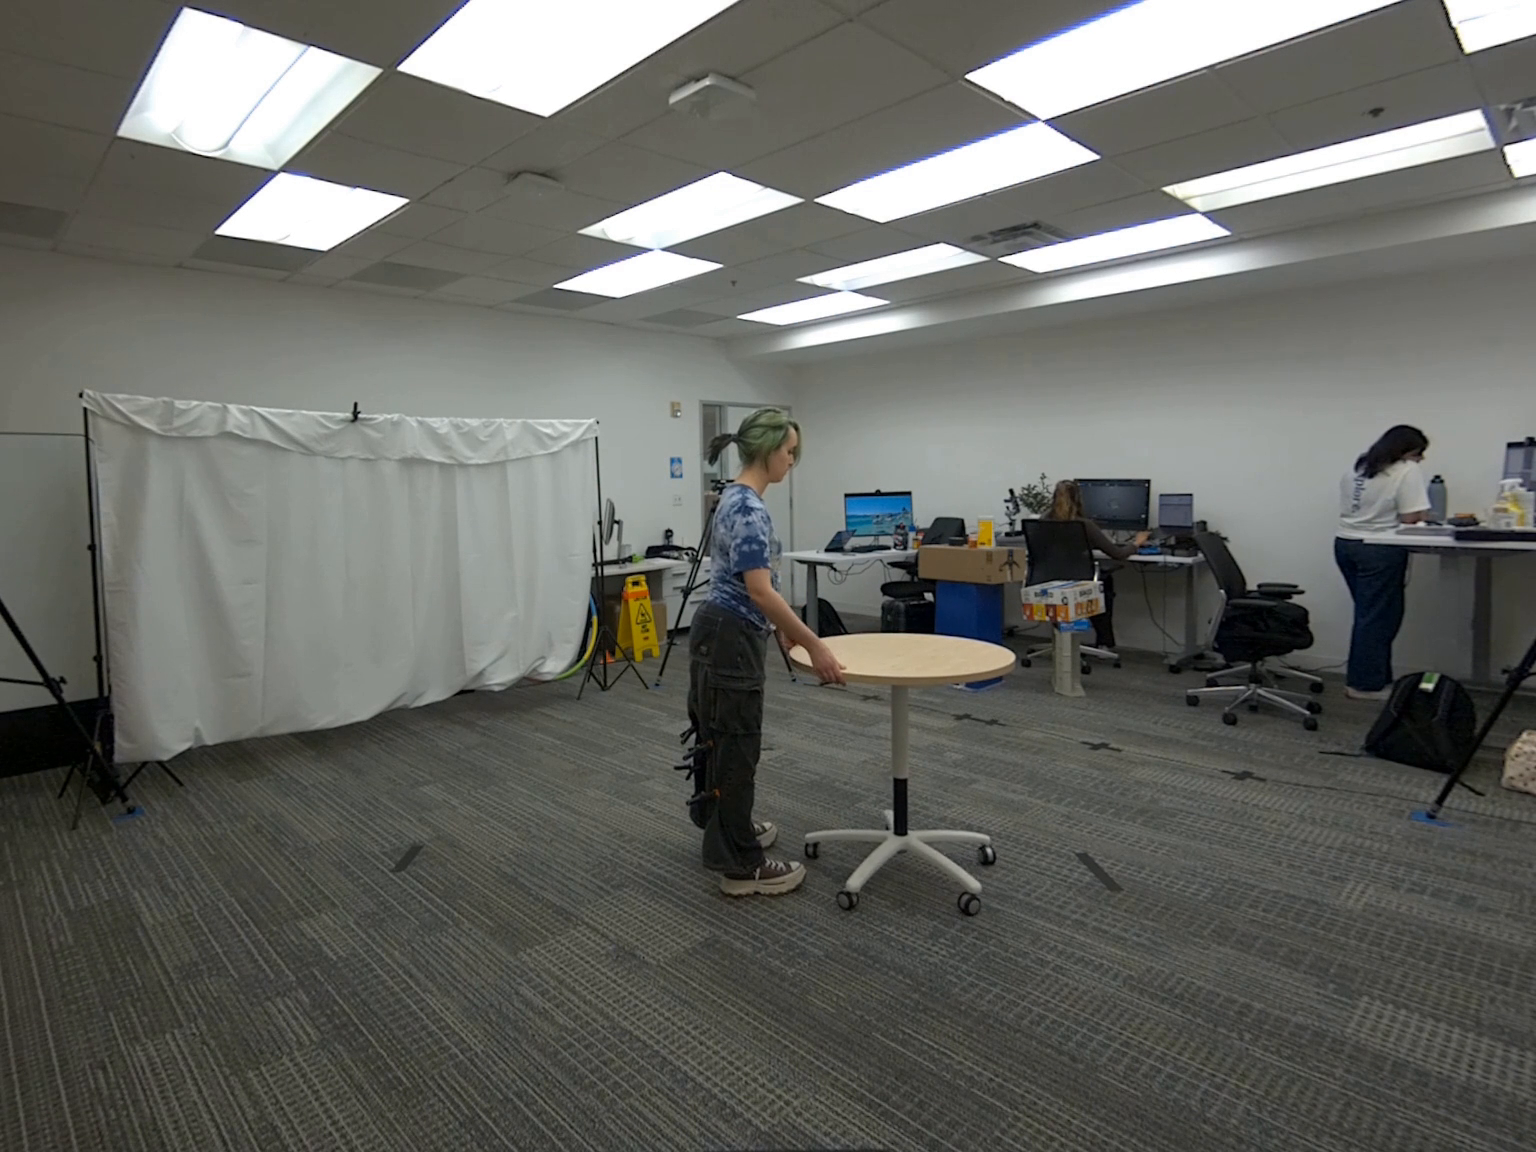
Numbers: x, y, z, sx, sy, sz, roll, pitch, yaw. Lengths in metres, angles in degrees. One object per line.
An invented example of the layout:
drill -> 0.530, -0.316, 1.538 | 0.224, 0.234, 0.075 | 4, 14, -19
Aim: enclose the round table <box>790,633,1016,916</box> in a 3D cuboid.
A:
round table -> 0.461, 0.659, 2.995 | 0.763, 0.791, 0.768 | -1, 5, -2
